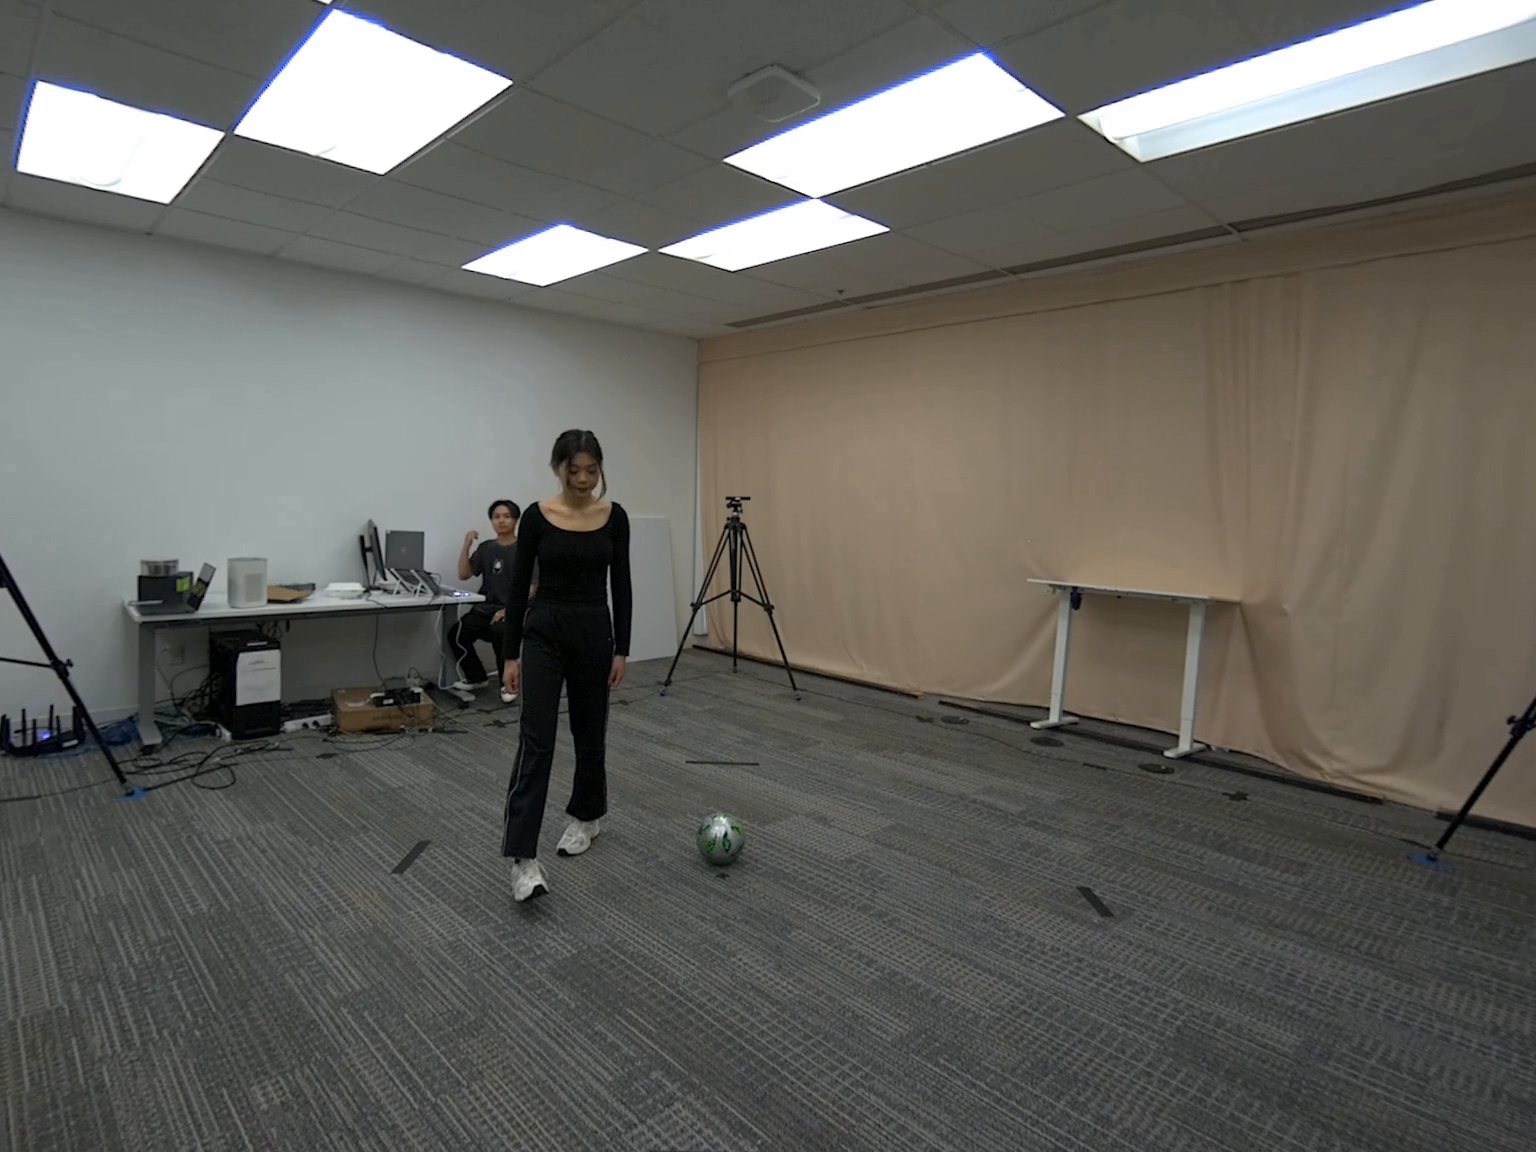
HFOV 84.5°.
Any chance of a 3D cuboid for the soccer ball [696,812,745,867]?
[{"bbox_3d":[-0.187,1.003,3.213,0.187,0.187,0.188,1,4,-1],"label":"soccer ball"}]
